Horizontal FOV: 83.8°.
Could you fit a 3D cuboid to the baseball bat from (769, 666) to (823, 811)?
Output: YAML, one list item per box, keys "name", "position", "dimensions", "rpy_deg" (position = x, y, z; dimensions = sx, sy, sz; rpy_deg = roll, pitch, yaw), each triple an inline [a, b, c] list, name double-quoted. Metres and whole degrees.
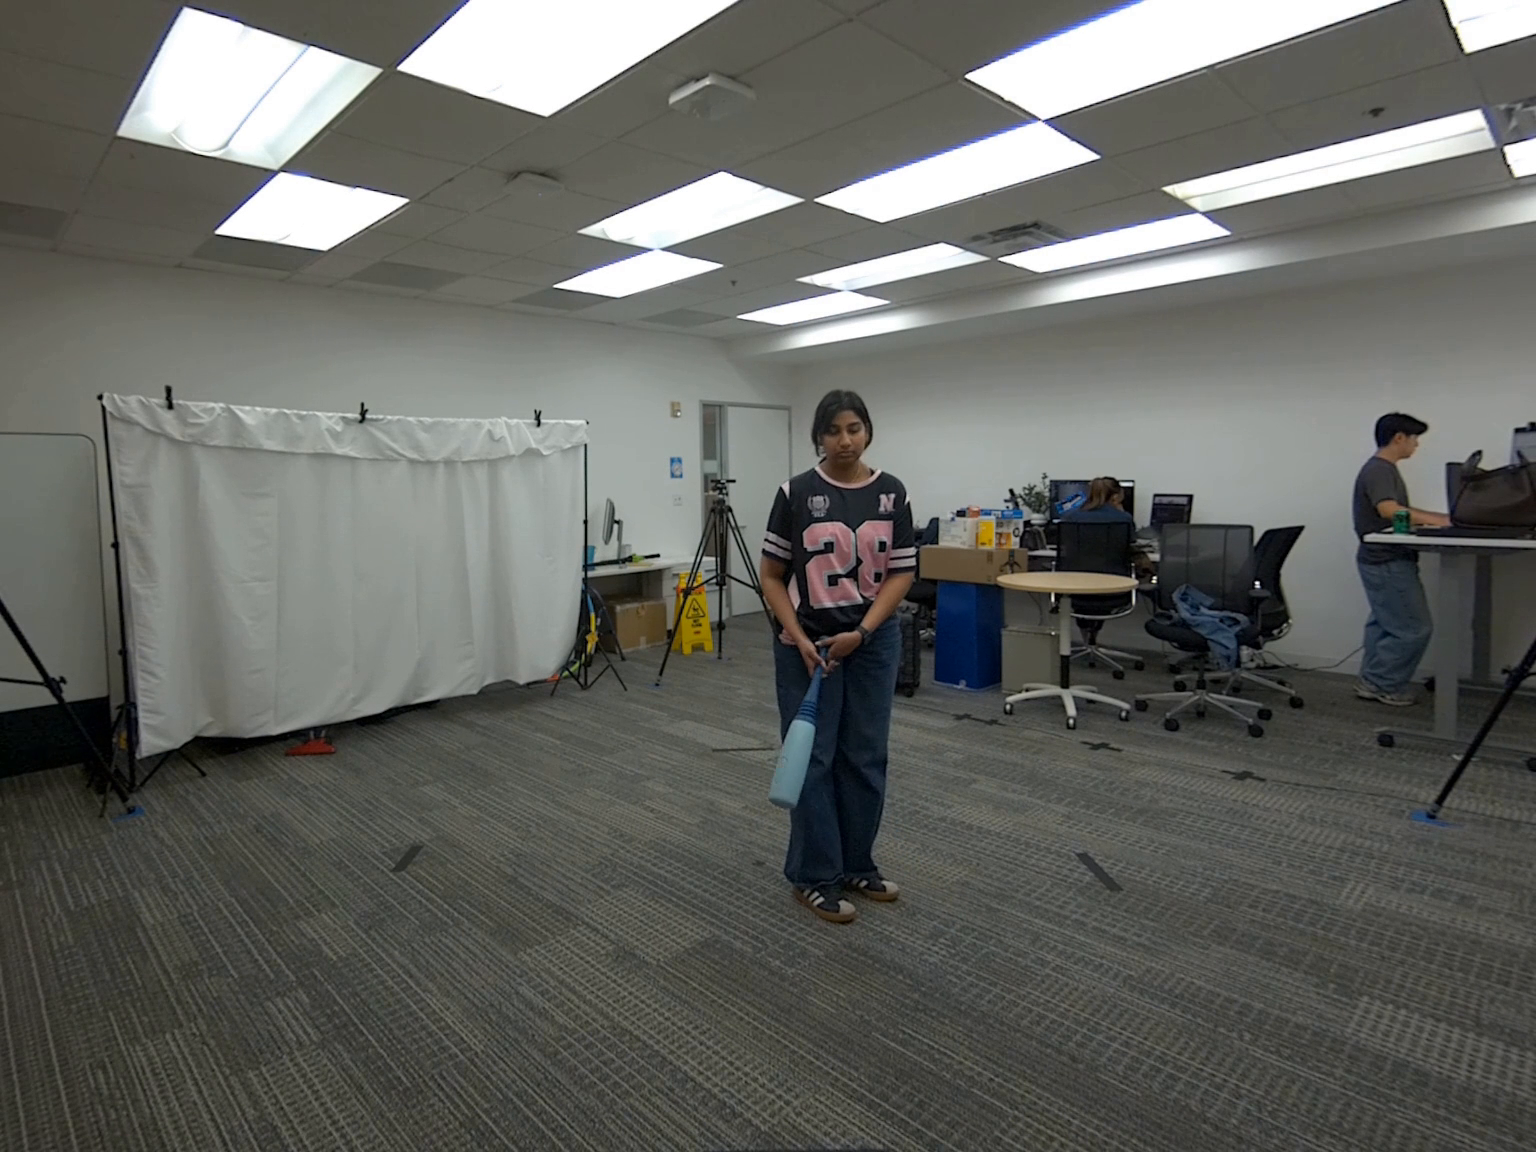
- name: "baseball bat"
  position: [0.110, 0.422, 2.562]
  dimensions: [0.090, 0.550, 0.087]
  rpy_deg: [15, -27, 6]
